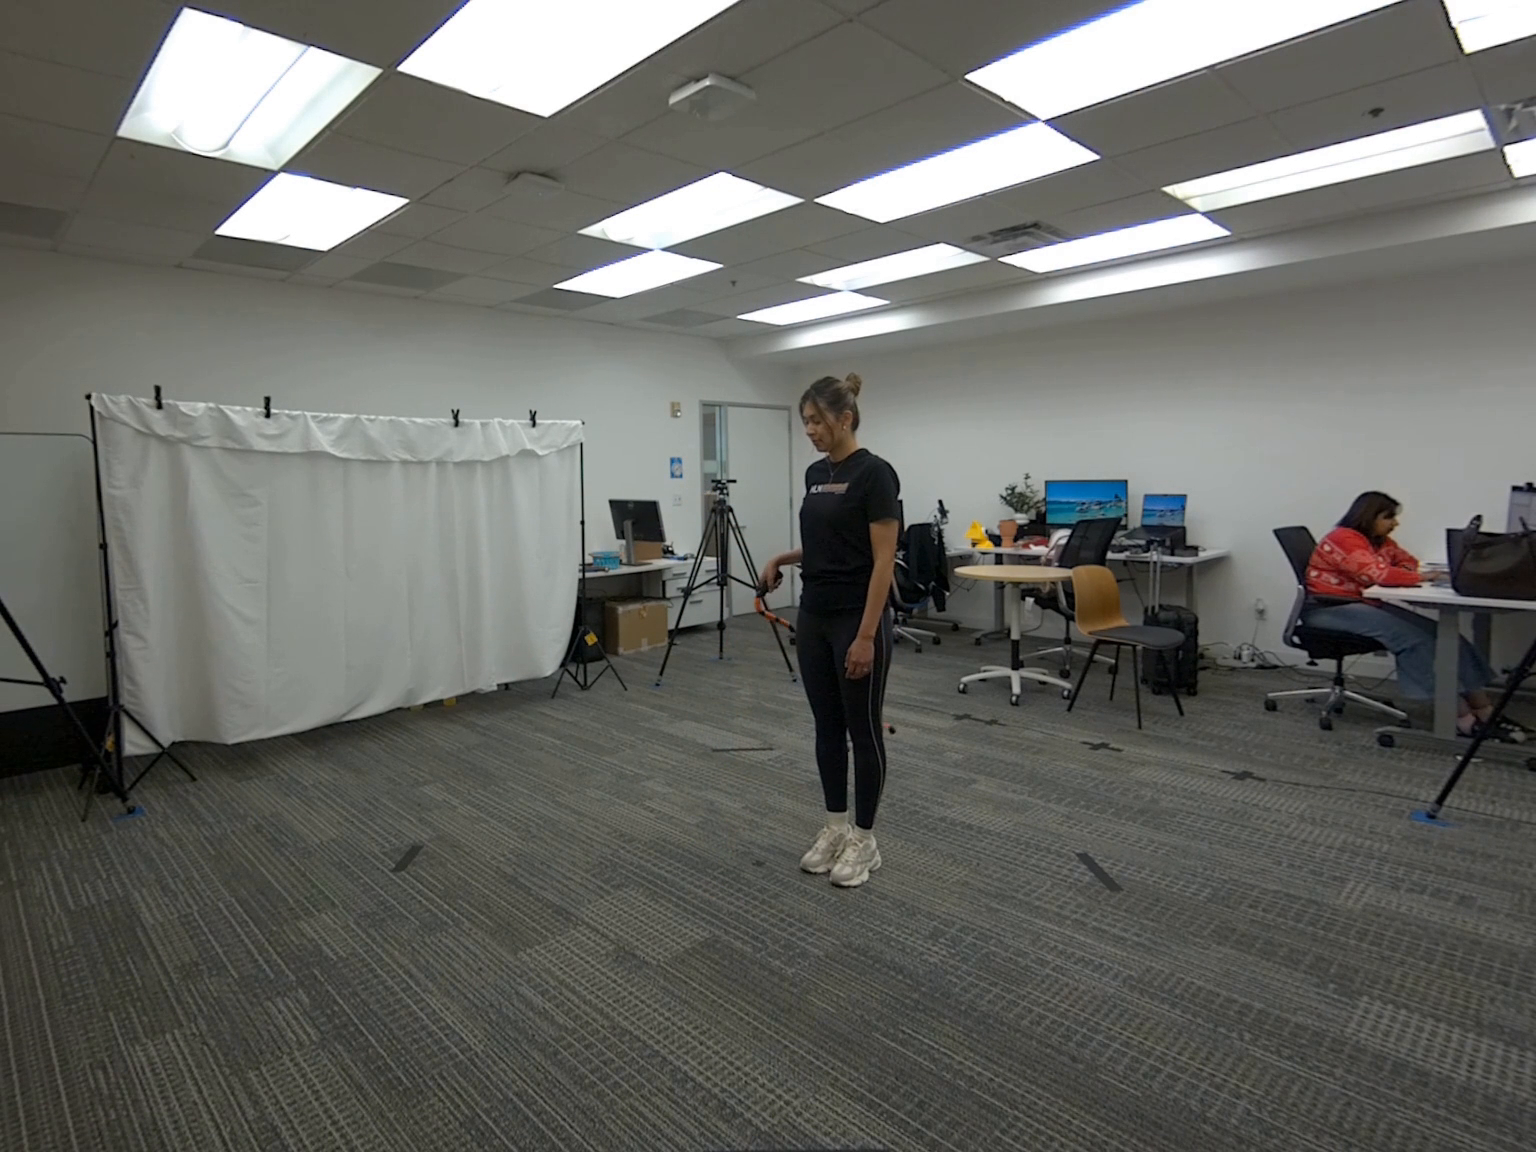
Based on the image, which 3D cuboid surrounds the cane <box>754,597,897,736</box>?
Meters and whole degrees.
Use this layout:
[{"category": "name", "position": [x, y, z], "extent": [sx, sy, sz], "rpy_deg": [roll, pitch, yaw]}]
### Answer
[{"category": "cane", "position": [0.191, 0.377, 3.379], "extent": [0.206, 0.881, 0.156], "rpy_deg": [-43, 27, -20]}]
